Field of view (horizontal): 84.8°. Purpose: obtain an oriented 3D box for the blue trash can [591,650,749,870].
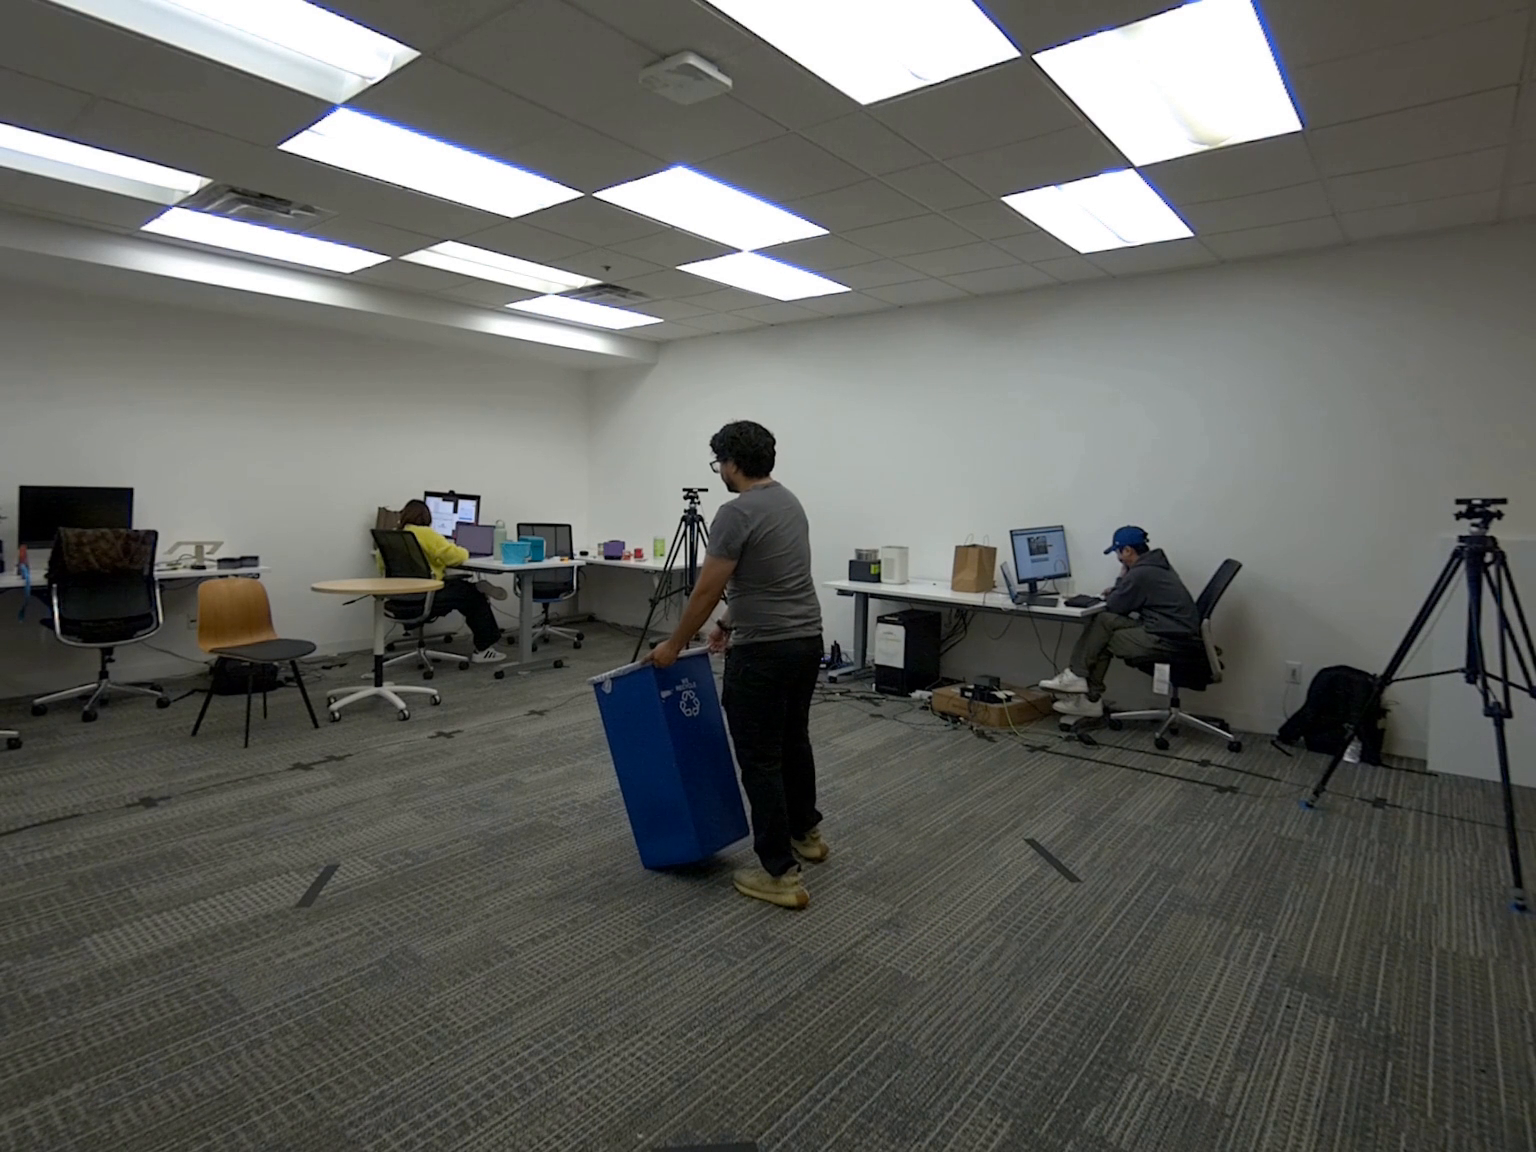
[{"bbox_3d":[-0.364,0.670,3.210,0.380,0.723,0.367,-23,-13,35],"label":"blue trash can"}]
